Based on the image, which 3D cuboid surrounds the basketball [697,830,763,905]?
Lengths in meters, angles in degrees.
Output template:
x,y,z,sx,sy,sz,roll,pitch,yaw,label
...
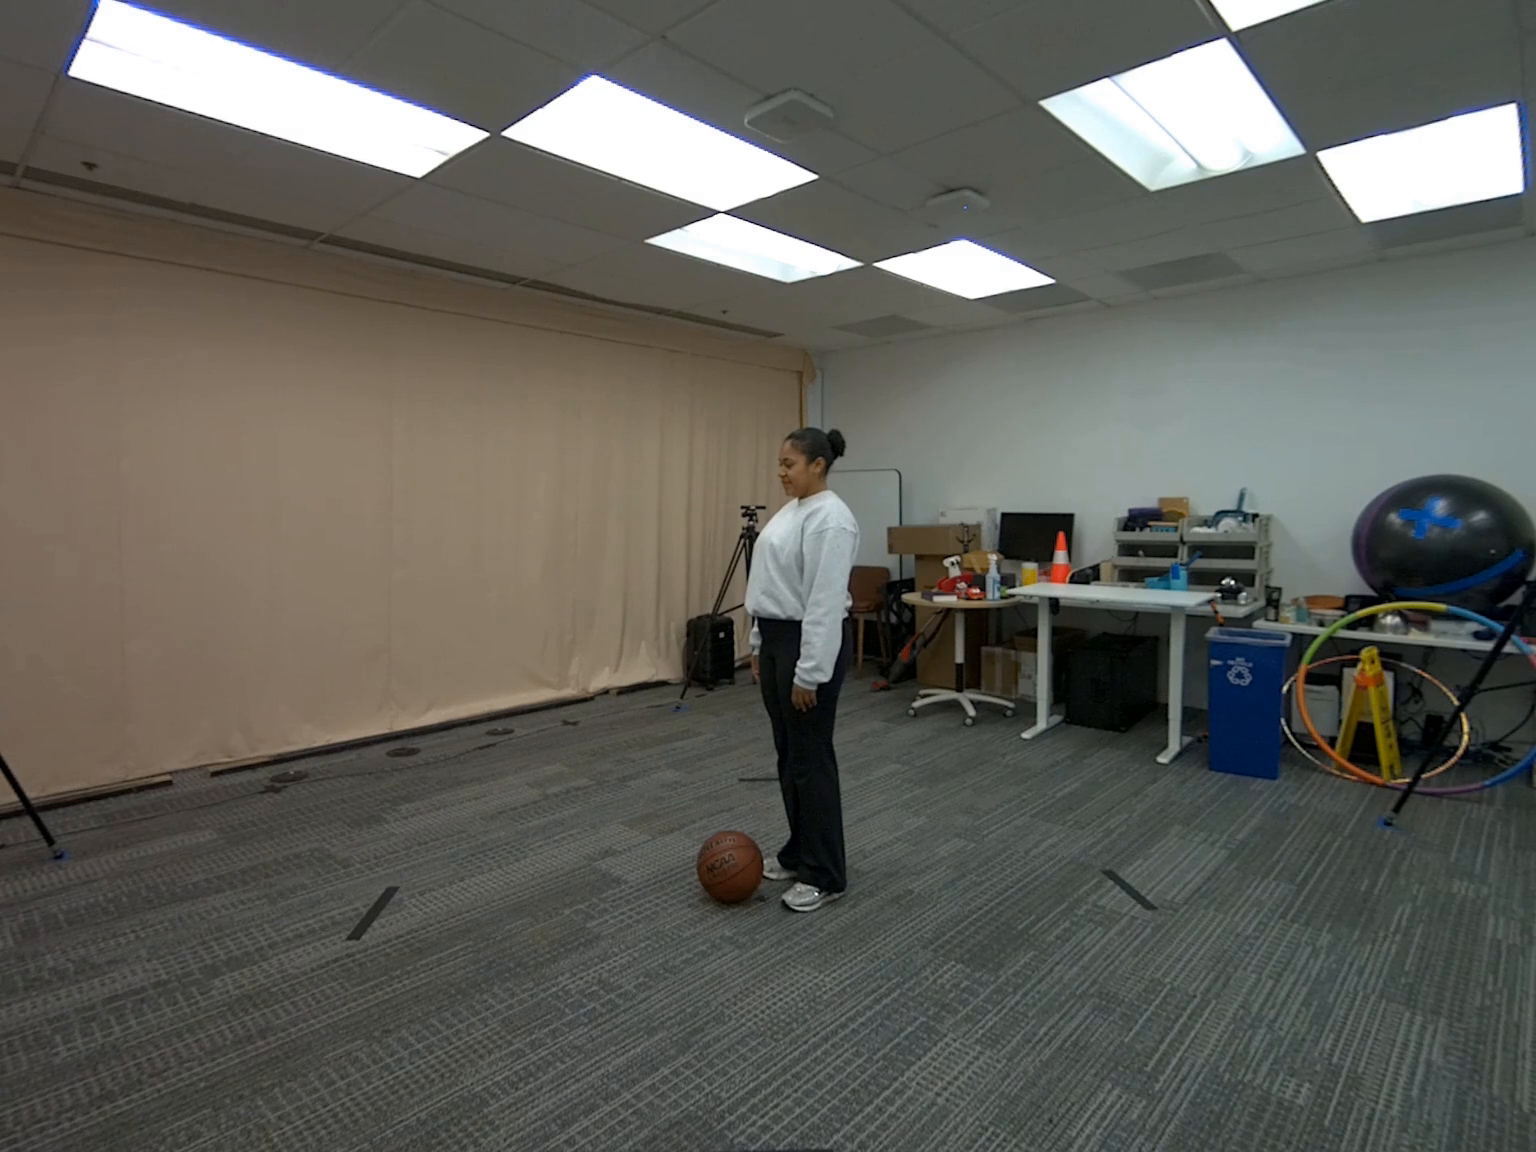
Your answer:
x,y,z,sx,sy,sz,roll,pitch,yaw,label
-0.131,1.026,2.981,0.236,0.235,0.237,0,4,-2,basketball
